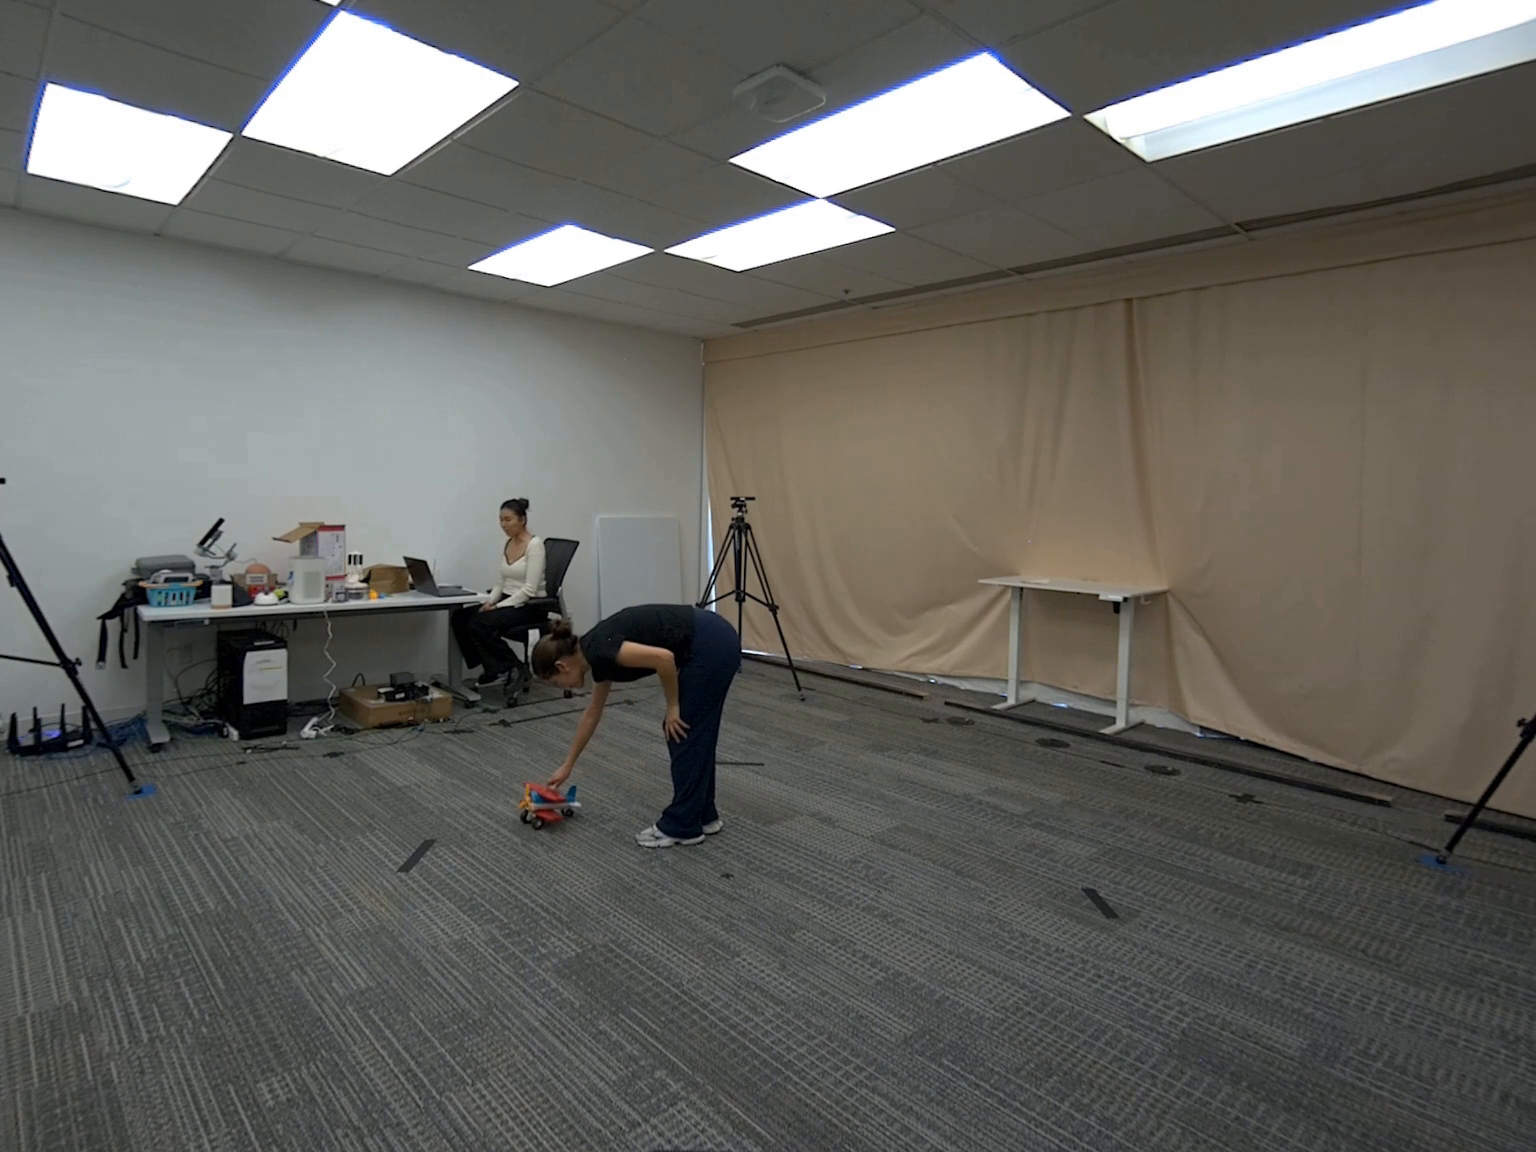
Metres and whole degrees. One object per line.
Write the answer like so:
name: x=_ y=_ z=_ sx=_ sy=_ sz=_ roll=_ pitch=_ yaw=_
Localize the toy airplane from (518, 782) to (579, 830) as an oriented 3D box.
toy airplane: x=-0.945 y=0.965 z=3.598 sx=0.254 sy=0.156 sz=0.257 roll=5 pitch=8 yaw=15
